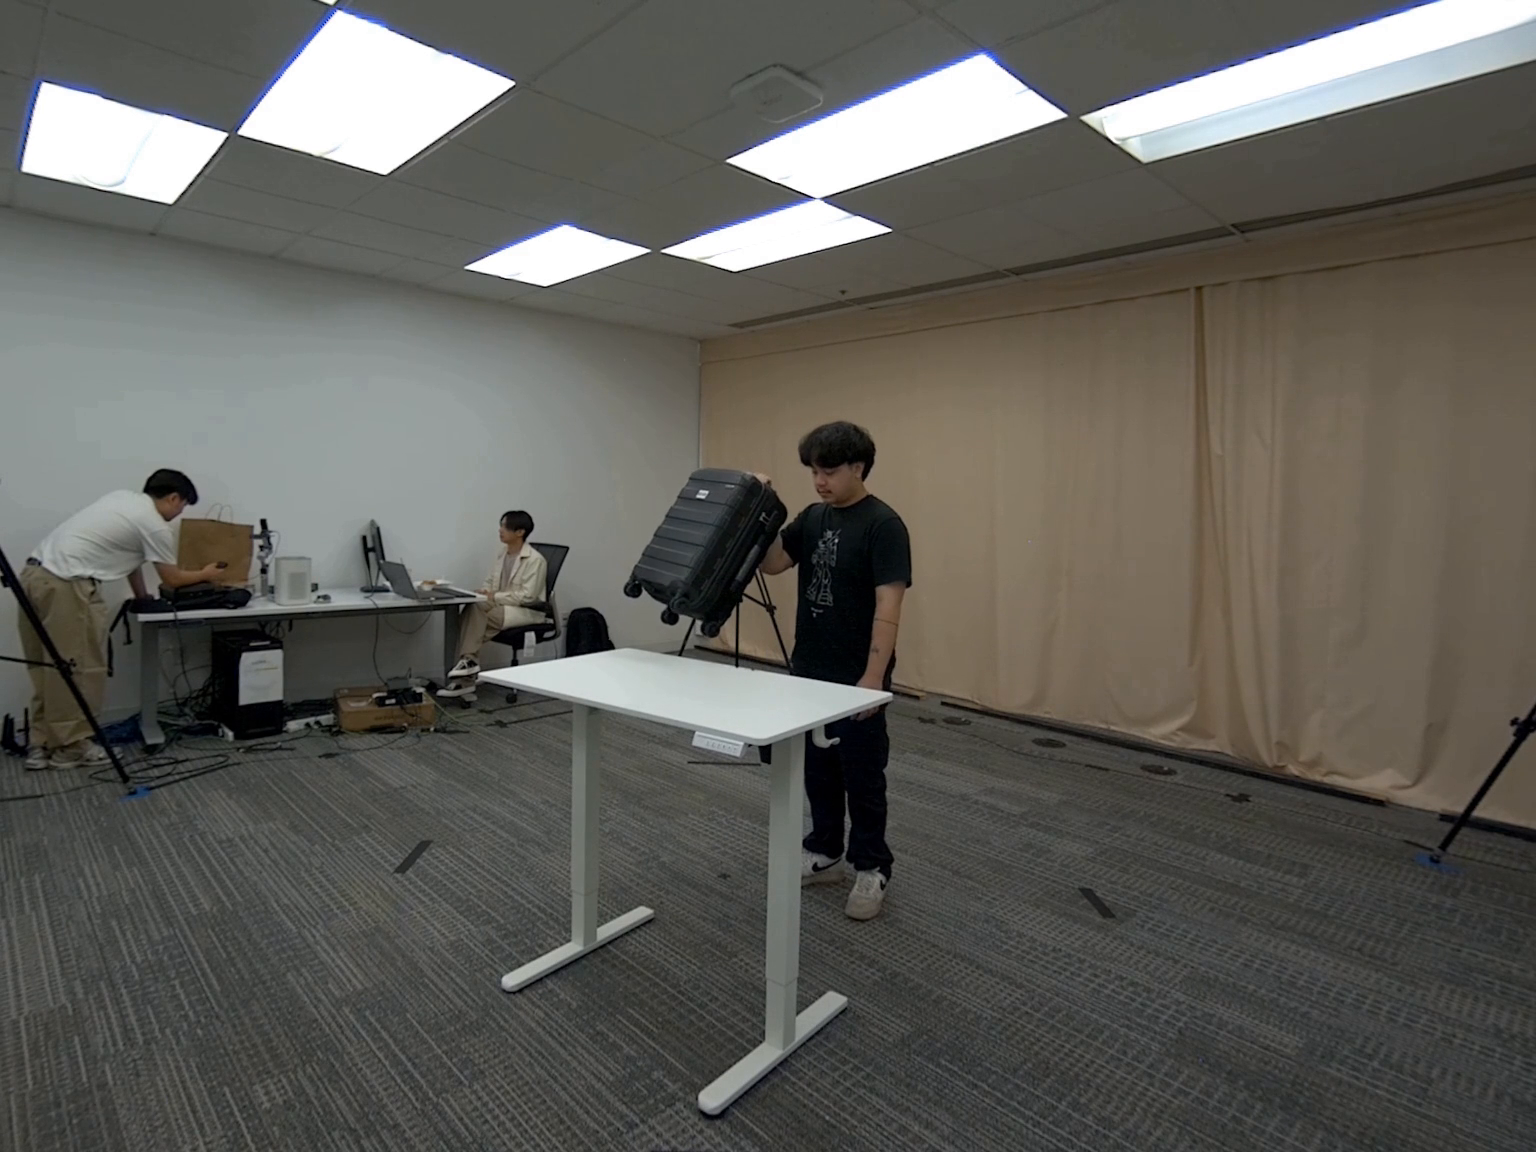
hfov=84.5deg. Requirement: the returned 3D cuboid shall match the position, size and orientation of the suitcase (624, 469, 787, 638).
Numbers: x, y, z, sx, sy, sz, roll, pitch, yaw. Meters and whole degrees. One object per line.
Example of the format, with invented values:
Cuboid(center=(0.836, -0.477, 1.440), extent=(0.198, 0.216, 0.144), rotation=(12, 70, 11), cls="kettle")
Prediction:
Cuboid(center=(-0.212, -0.097, 2.881), extent=(0.385, 0.551, 0.241), rotation=(11, -22, 50), cls="suitcase")
